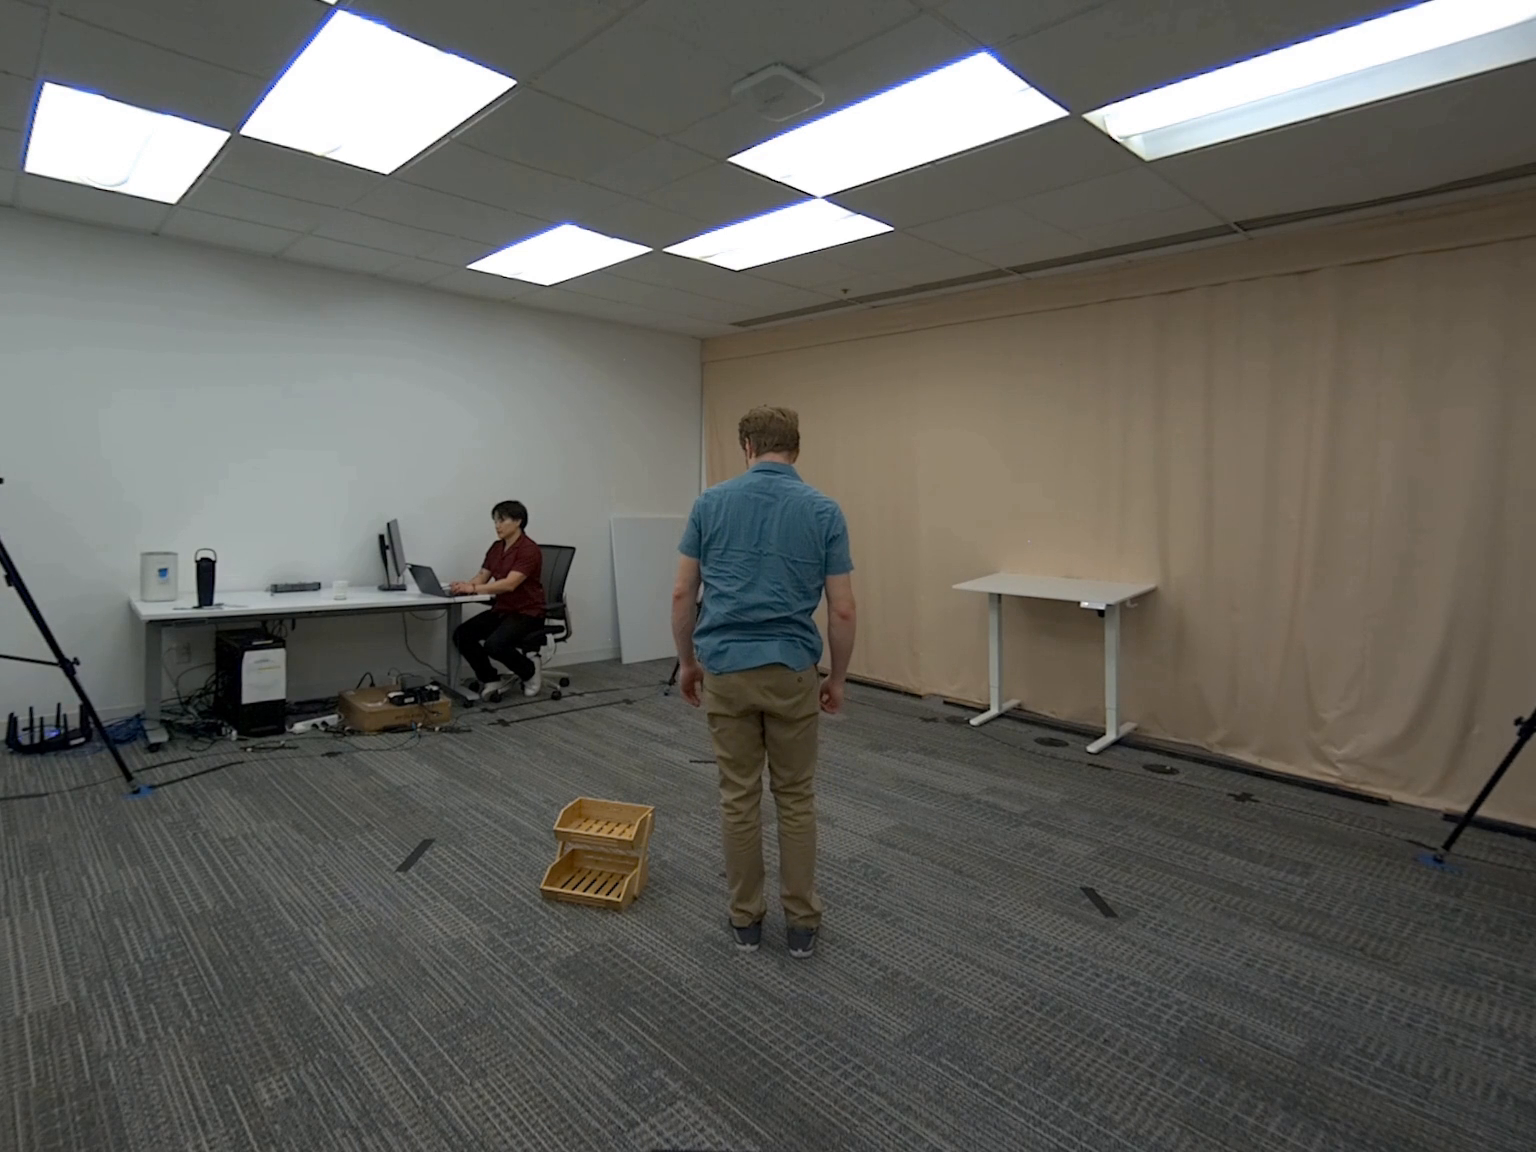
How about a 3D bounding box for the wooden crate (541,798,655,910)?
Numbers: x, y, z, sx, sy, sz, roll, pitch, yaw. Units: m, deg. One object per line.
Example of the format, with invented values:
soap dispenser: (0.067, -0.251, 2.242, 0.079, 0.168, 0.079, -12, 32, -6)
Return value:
wooden crate: (-0.606, 0.976, 2.962, 0.328, 0.272, 0.299, 3, 4, 14)
